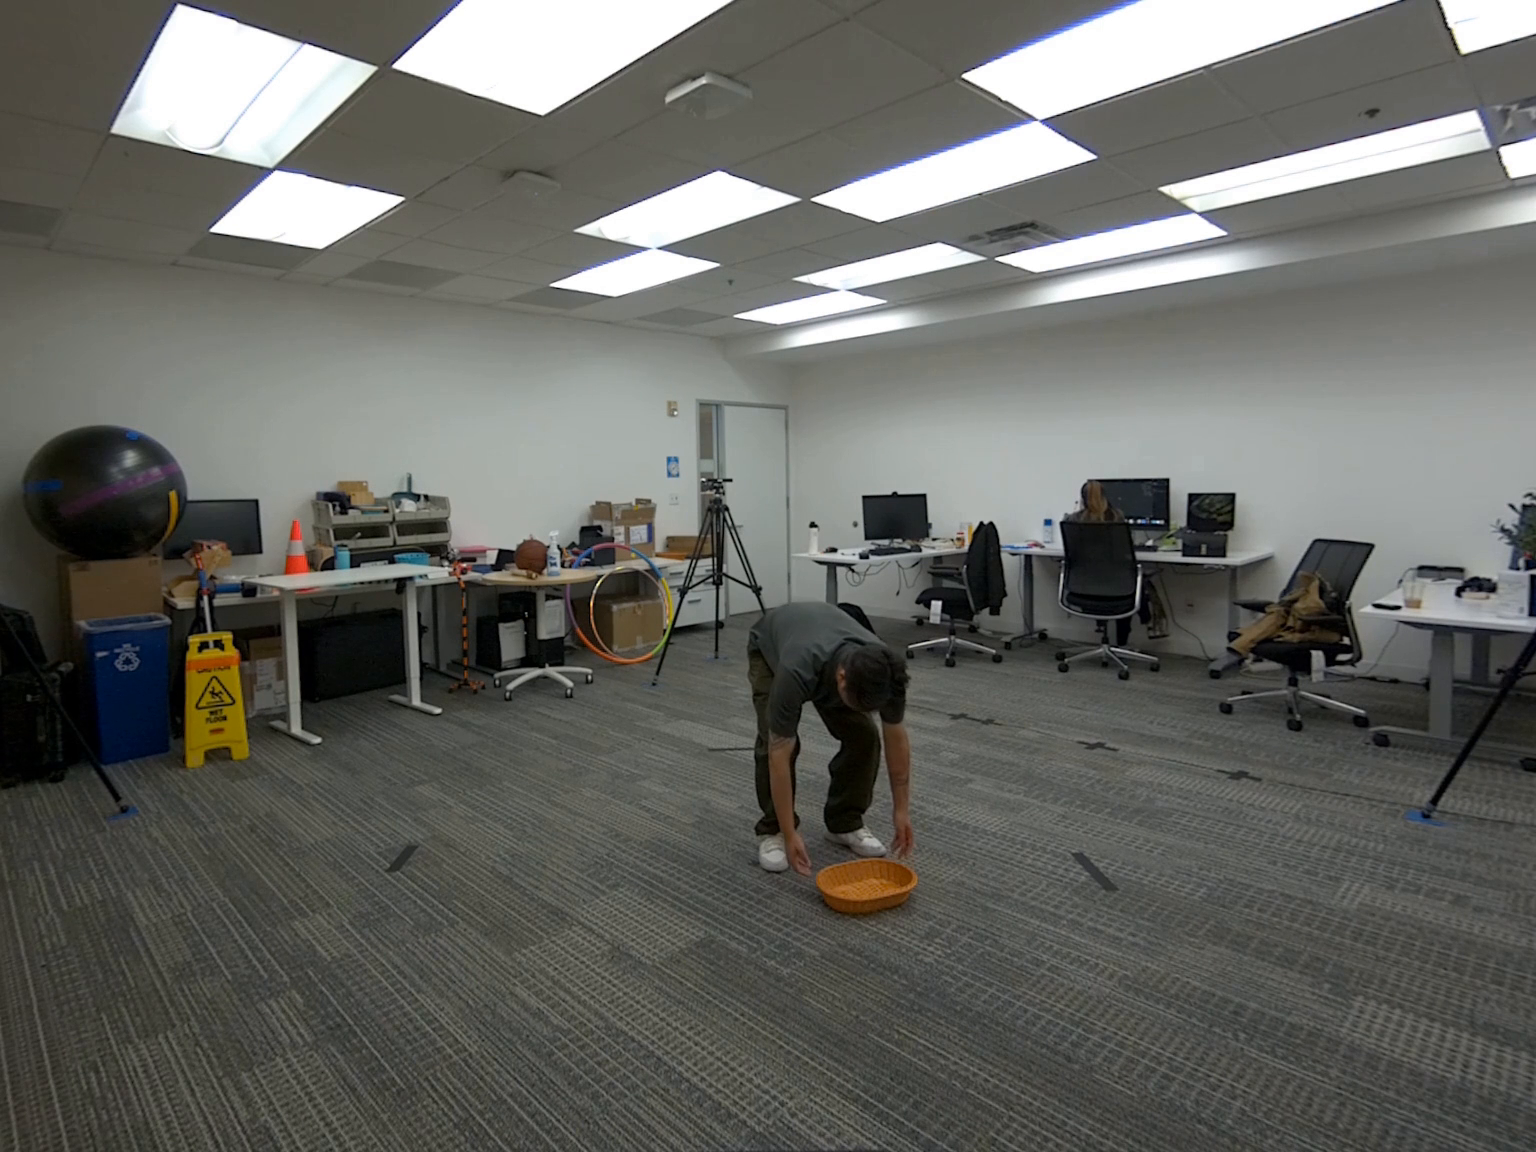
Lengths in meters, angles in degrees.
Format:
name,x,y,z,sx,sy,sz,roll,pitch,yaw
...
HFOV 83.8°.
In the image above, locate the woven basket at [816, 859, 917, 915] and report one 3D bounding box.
name,x,y,z,sx,sy,sz,roll,pitch,yaw
woven basket,0.321,1.027,2.834,0.344,0.073,0.258,-4,7,-22
